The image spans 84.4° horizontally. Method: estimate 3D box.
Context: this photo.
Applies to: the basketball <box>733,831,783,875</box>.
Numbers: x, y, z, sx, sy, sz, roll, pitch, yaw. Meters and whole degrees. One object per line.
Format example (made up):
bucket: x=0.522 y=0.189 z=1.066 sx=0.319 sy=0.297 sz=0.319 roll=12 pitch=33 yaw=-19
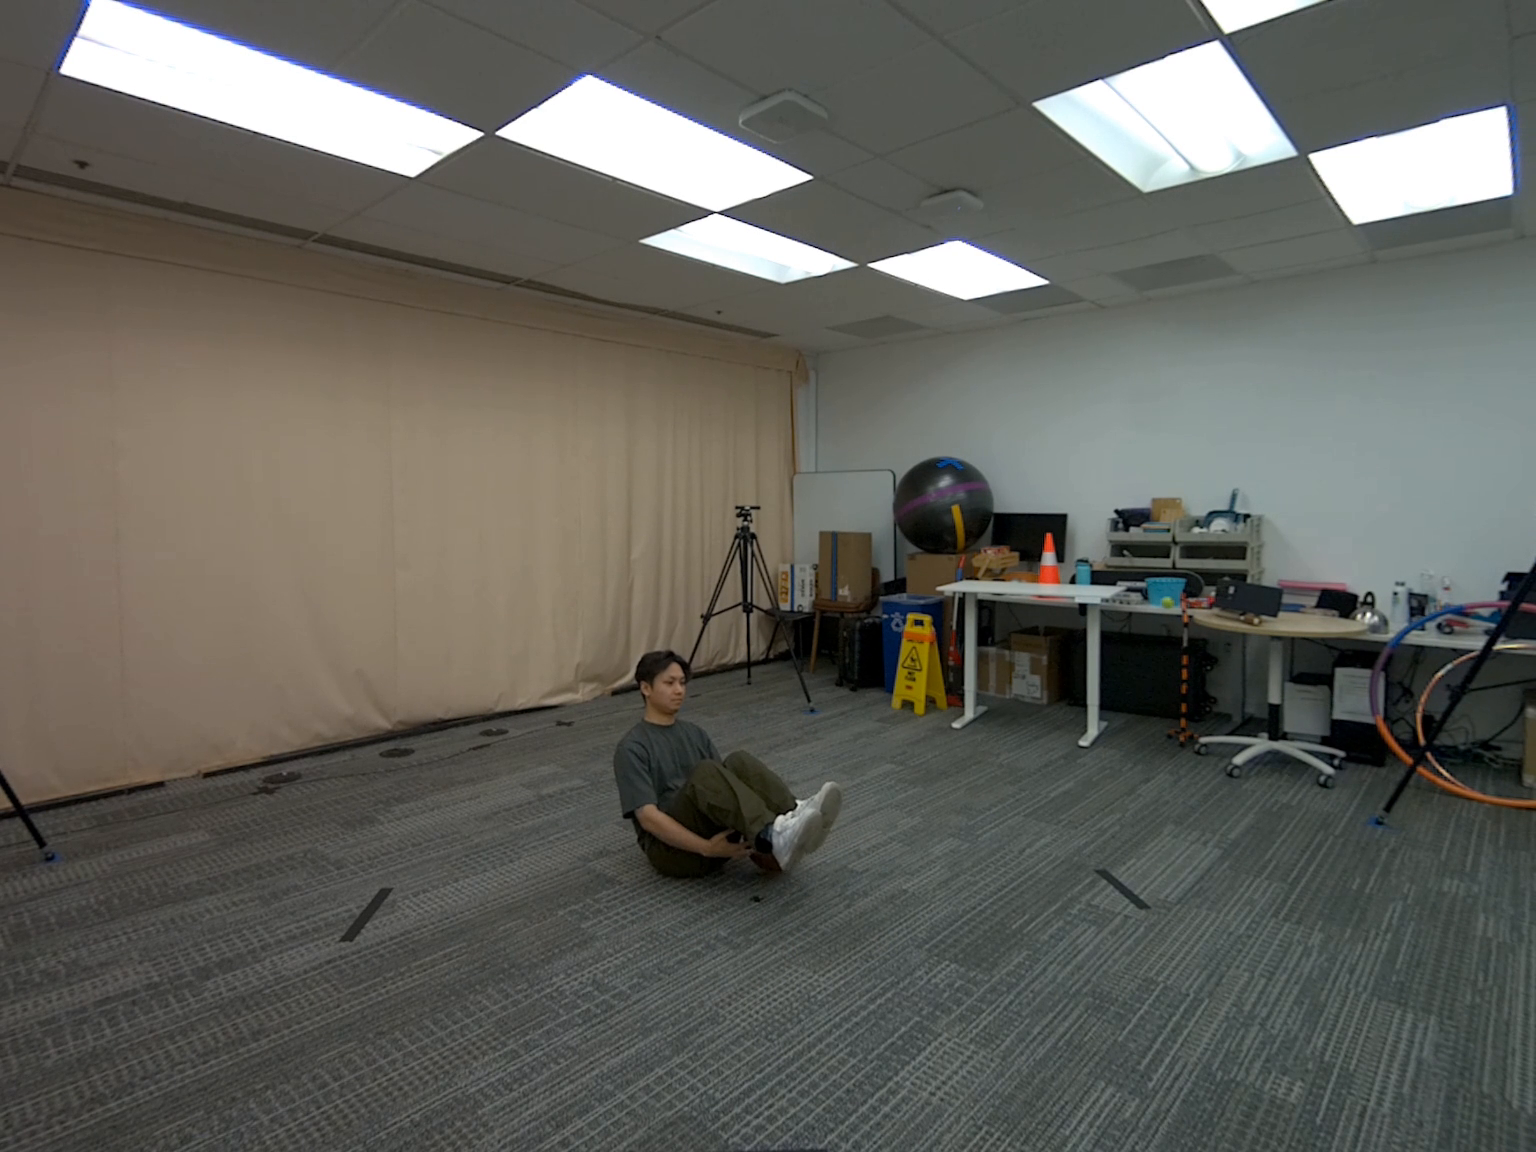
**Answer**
basketball: x=0.024 y=0.980 z=3.144 sx=0.236 sy=0.235 sz=0.237 roll=0 pitch=4 yaw=-2
